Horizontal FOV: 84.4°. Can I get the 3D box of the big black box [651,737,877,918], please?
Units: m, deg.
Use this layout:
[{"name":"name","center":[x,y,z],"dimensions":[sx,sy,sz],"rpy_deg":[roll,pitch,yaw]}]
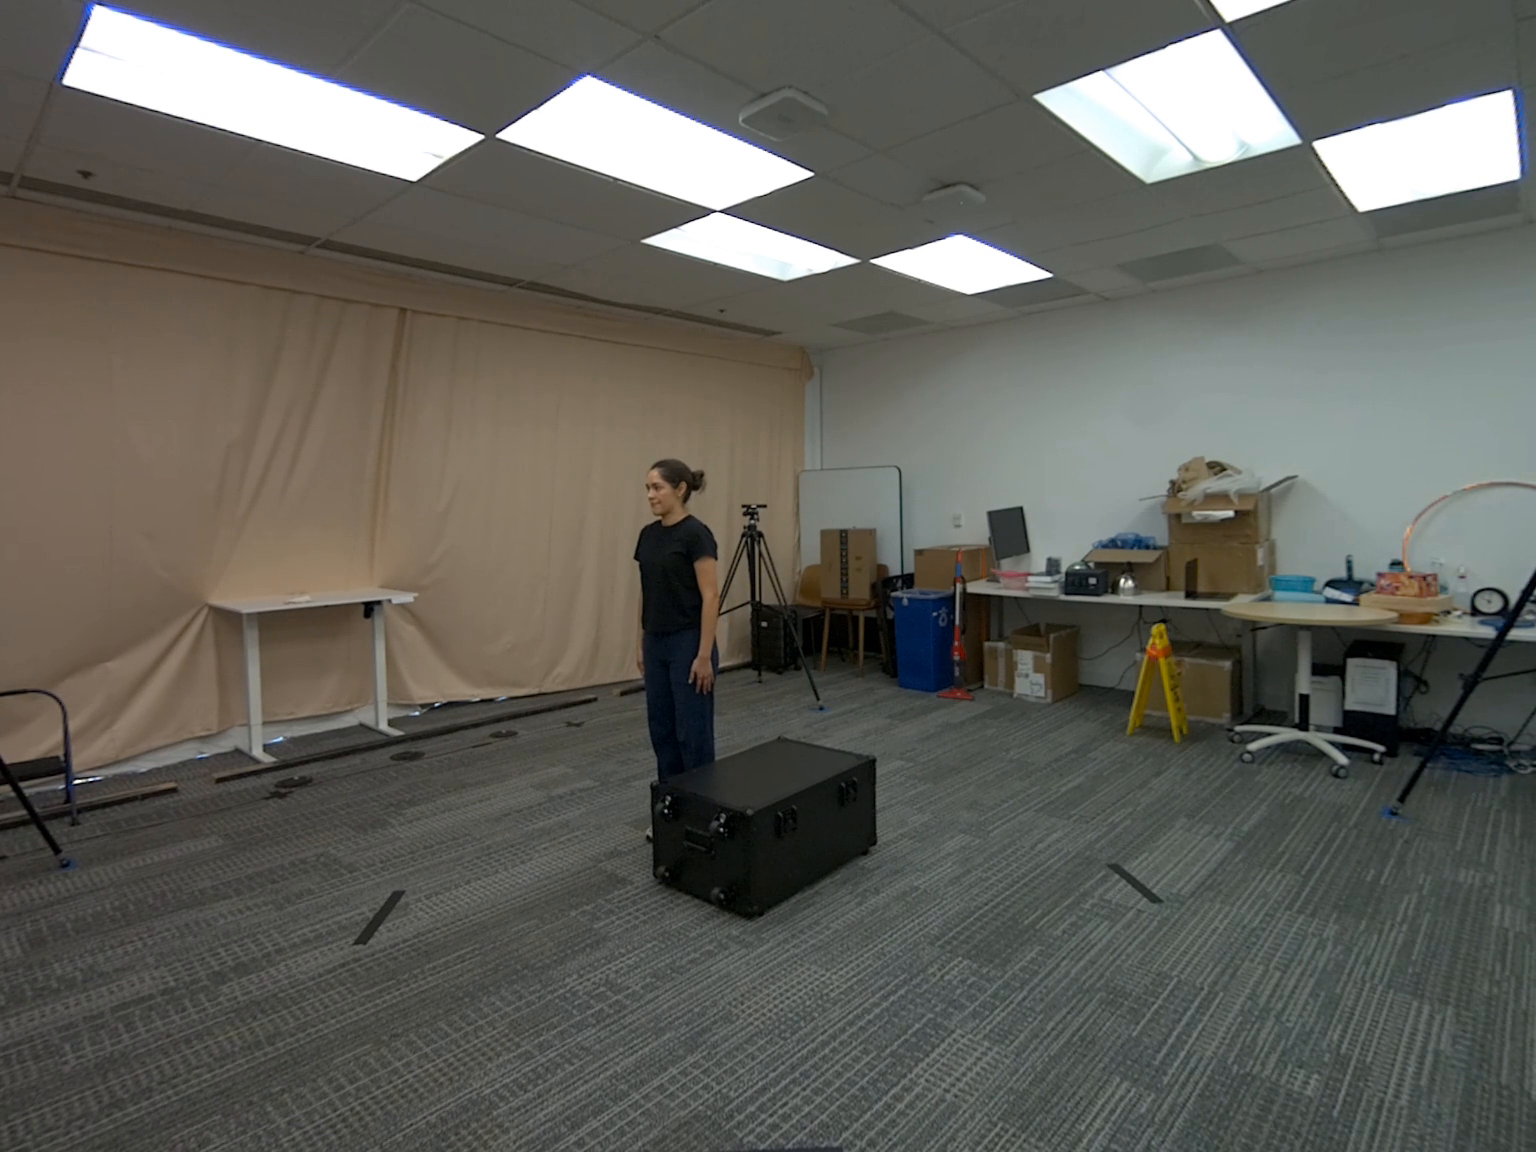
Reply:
[{"name":"big black box","center":[-0.002,0.931,3.210],"dimensions":[0.538,0.395,0.836],"rpy_deg":[2,5,40]}]
